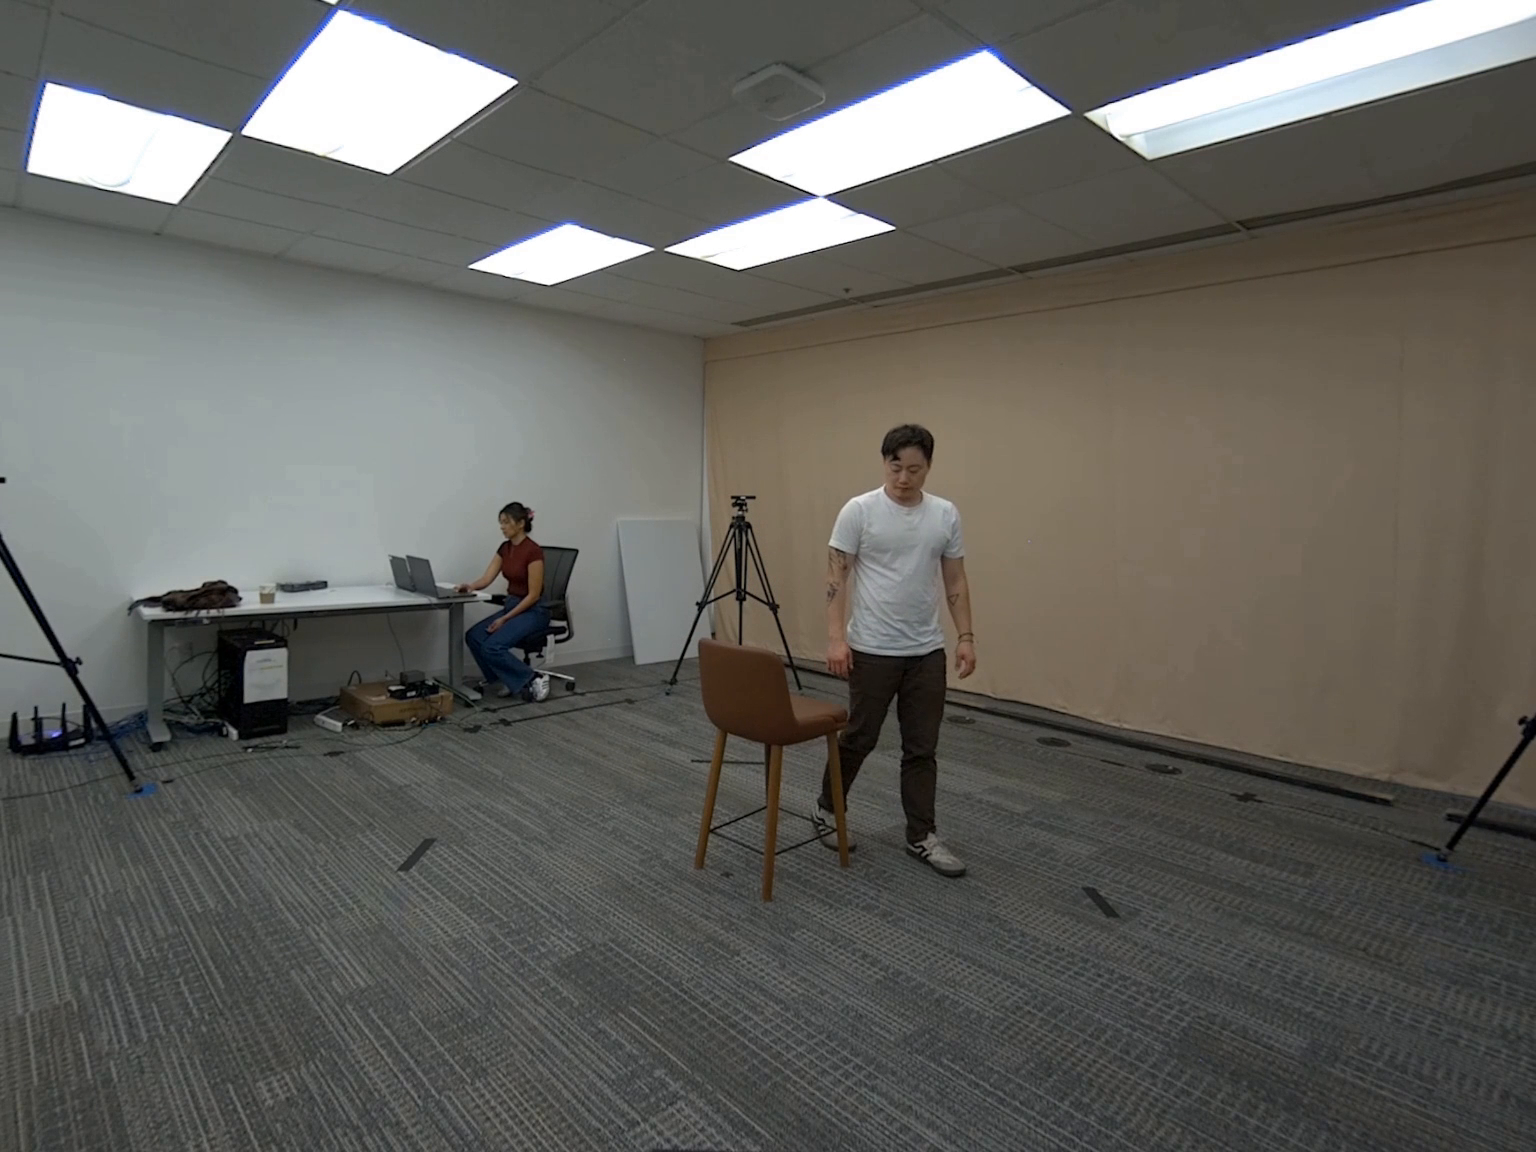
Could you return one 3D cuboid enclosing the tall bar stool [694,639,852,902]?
[{"bbox_3d":[0.010,0.666,3.156,0.468,0.887,0.457,4,6,44],"label":"tall bar stool"}]
